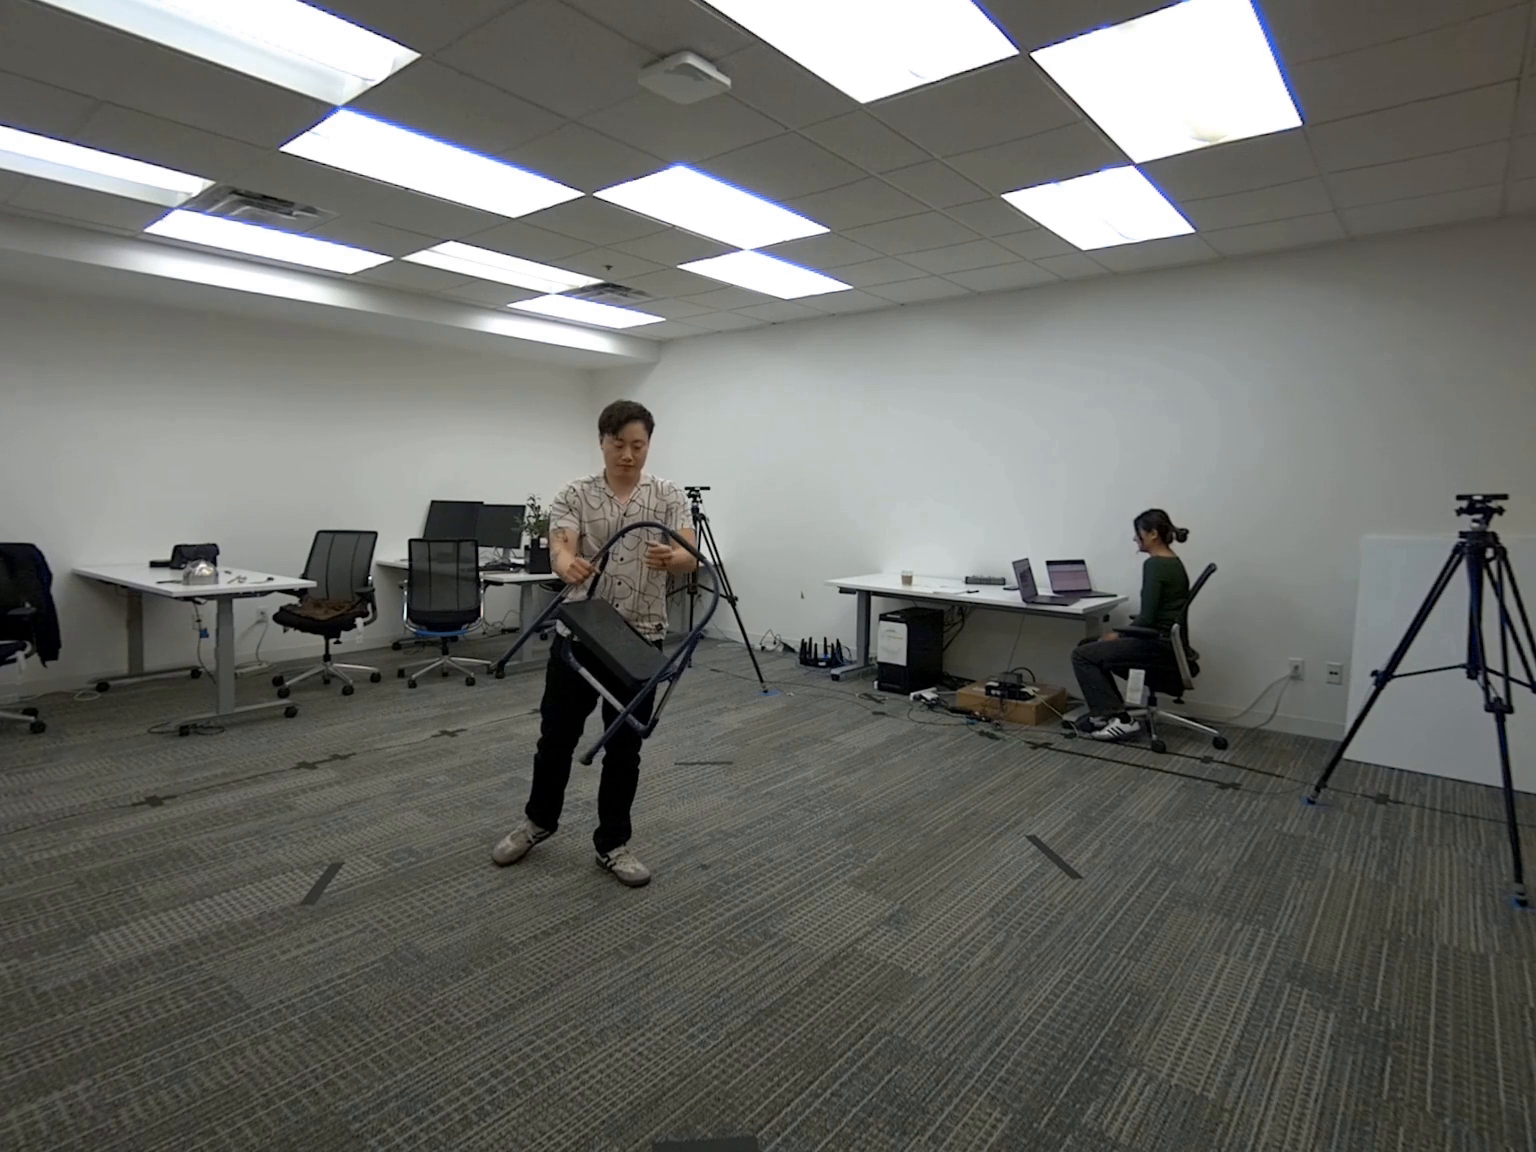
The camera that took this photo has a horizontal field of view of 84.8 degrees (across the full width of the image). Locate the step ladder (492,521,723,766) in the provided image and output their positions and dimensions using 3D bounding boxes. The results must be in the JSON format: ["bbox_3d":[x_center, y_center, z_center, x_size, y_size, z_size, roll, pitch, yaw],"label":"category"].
[{"bbox_3d":[-0.439,0.149,2.496,0.443,0.604,0.341,40,16,19],"label":"step ladder"}]
